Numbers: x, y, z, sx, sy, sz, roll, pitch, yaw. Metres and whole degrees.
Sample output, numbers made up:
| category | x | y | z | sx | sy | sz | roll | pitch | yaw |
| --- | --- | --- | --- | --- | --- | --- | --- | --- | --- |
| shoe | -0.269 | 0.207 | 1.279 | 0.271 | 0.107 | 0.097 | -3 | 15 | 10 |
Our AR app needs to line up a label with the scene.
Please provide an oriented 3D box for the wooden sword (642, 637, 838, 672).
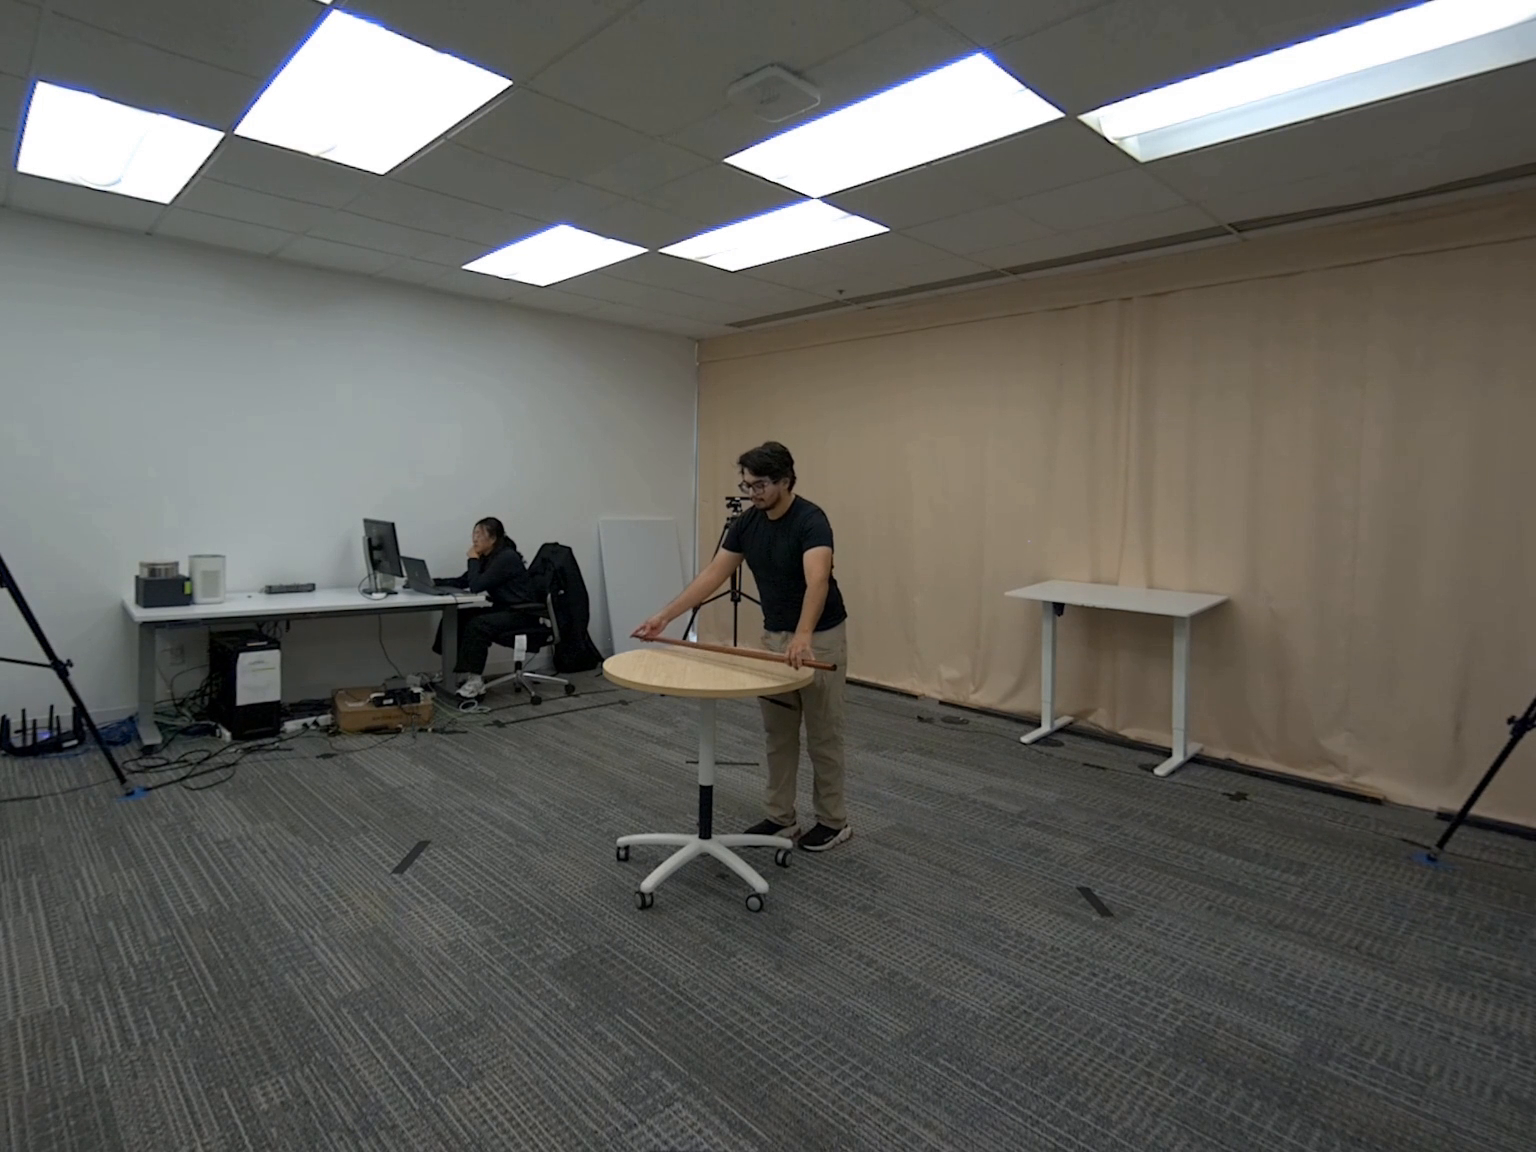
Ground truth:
| category | x | y | z | sx | sy | sz | roll | pitch | yaw |
| --- | --- | --- | --- | --- | --- | --- | --- | --- | --- |
| wooden sword | -0.167 | 0.284 | 3.050 | 0.023 | 0.051 | 1.051 | -8 | 9 | -42 |
